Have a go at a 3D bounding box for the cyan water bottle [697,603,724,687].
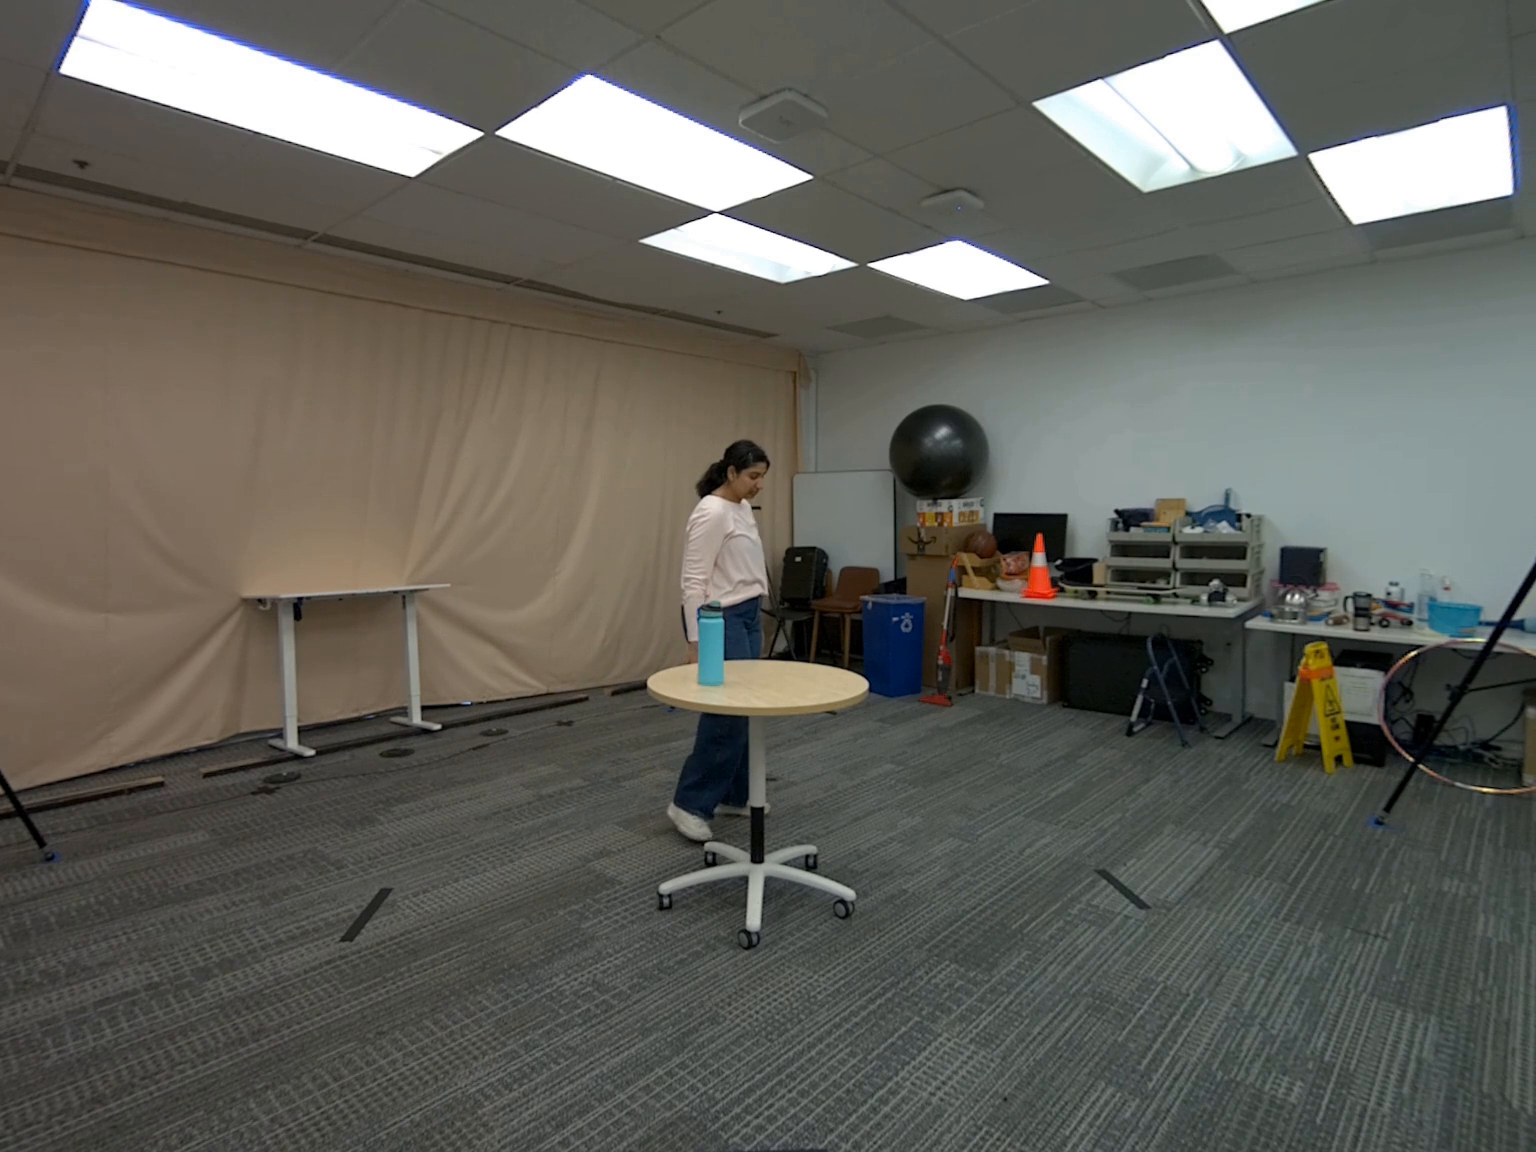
[{"bbox_3d":[-0.206,0.230,2.884,0.092,0.283,0.092,-3,2,-2],"label":"cyan water bottle"}]
